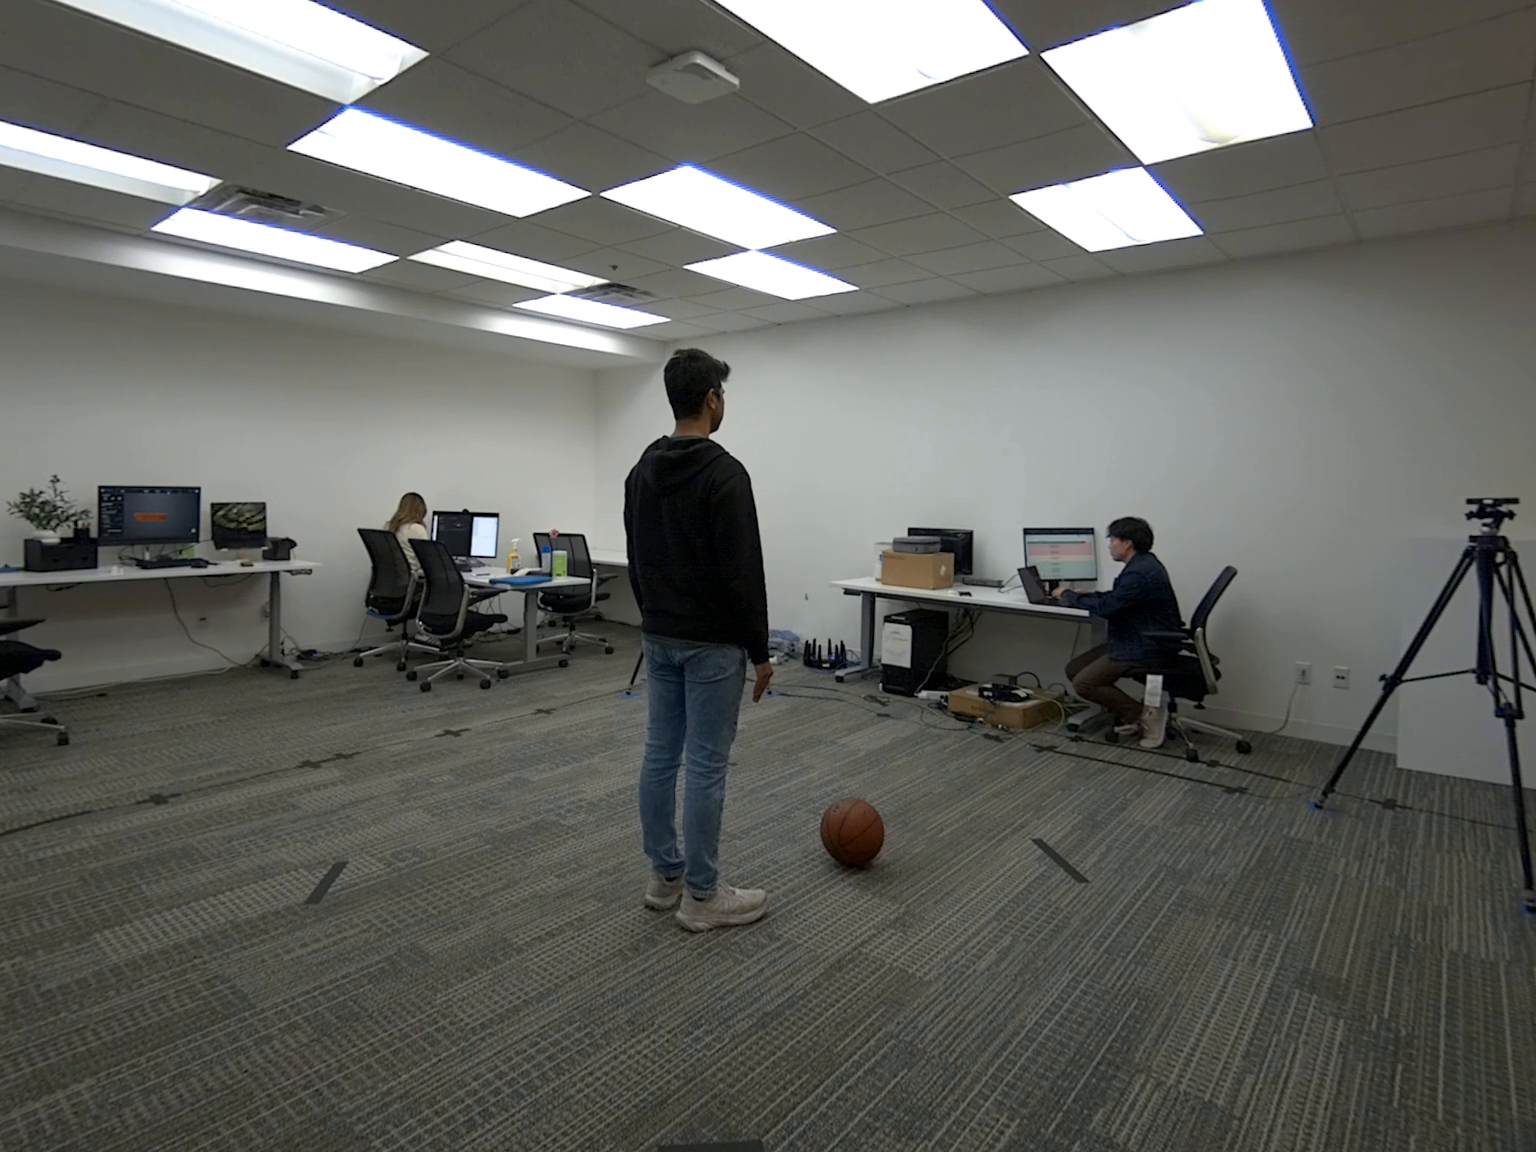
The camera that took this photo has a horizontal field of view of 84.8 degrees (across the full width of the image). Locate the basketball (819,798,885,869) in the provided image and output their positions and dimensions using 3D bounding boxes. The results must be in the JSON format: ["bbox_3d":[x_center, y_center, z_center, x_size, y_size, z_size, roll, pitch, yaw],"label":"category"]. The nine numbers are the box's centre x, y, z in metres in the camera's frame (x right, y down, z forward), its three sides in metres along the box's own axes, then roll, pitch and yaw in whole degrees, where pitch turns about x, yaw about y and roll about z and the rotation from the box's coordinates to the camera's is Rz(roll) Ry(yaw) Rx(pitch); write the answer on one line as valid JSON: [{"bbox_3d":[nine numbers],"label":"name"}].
[{"bbox_3d":[0.308,0.948,3.183,0.235,0.235,0.237,1,4,-2],"label":"basketball"}]
